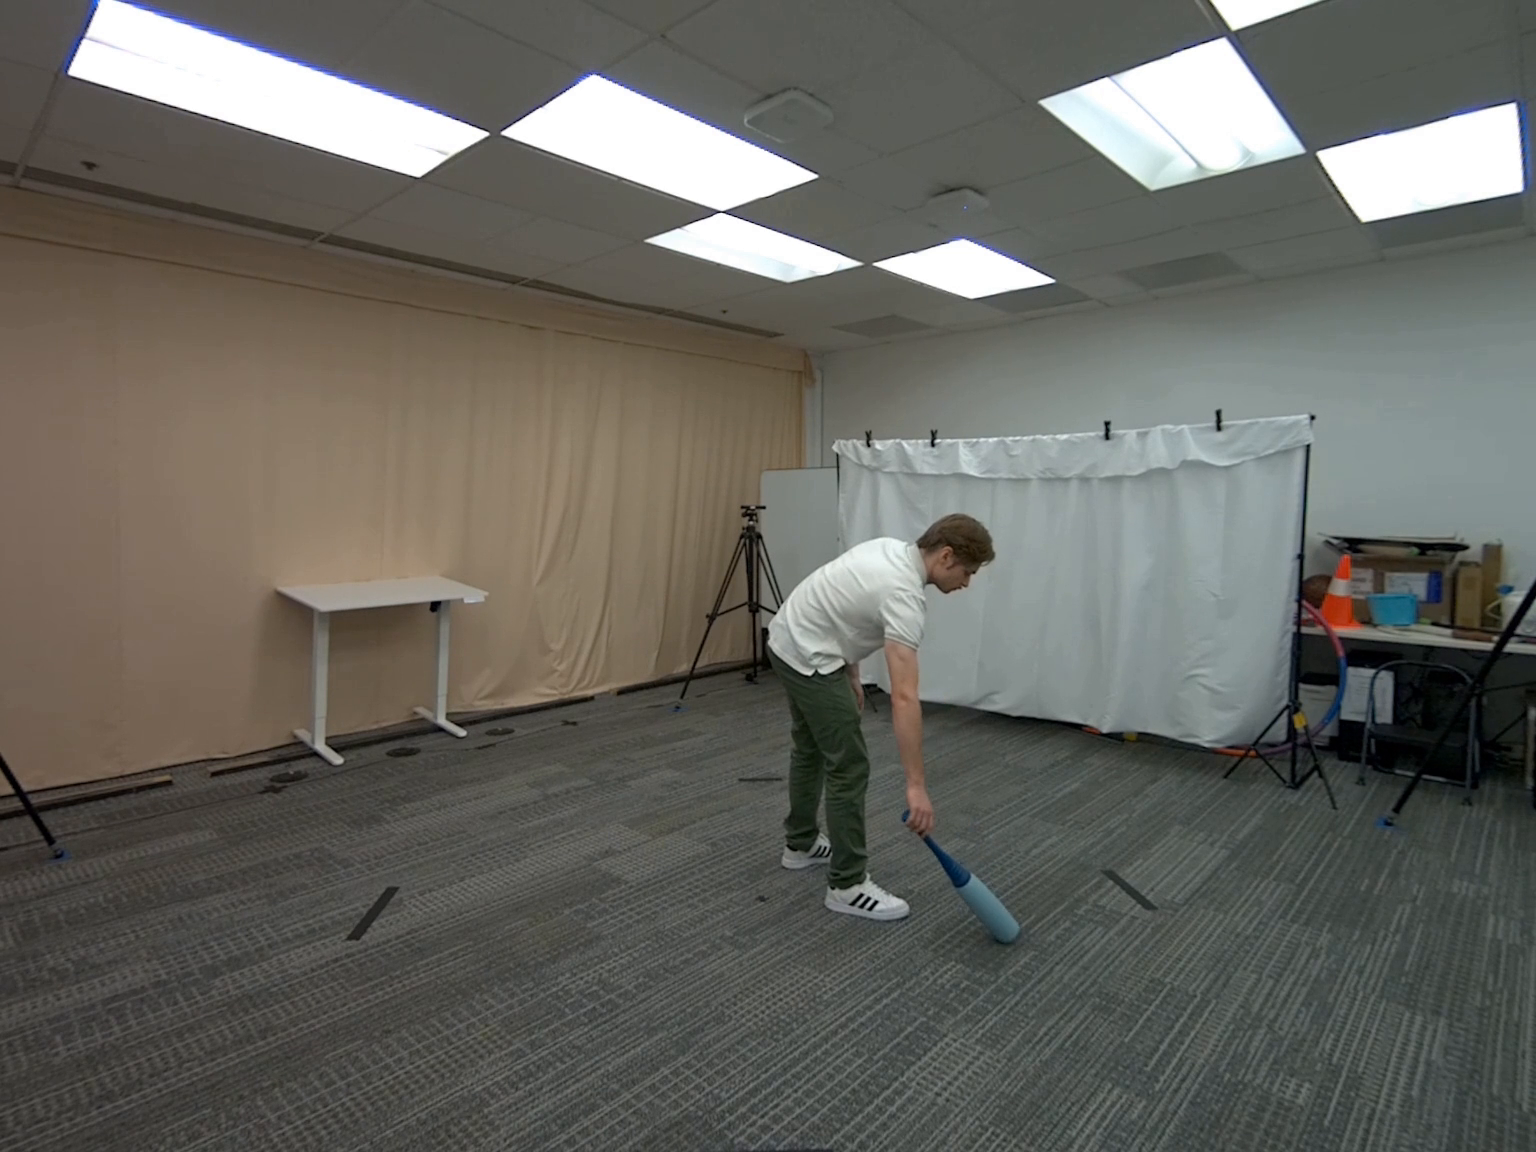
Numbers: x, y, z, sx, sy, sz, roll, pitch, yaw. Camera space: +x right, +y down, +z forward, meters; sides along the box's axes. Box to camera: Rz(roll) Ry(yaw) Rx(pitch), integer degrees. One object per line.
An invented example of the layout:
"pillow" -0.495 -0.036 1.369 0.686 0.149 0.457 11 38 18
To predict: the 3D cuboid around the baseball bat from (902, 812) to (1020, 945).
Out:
"baseball bat" 0.607 0.948 2.658 0.089 0.537 0.090 -40 9 7
